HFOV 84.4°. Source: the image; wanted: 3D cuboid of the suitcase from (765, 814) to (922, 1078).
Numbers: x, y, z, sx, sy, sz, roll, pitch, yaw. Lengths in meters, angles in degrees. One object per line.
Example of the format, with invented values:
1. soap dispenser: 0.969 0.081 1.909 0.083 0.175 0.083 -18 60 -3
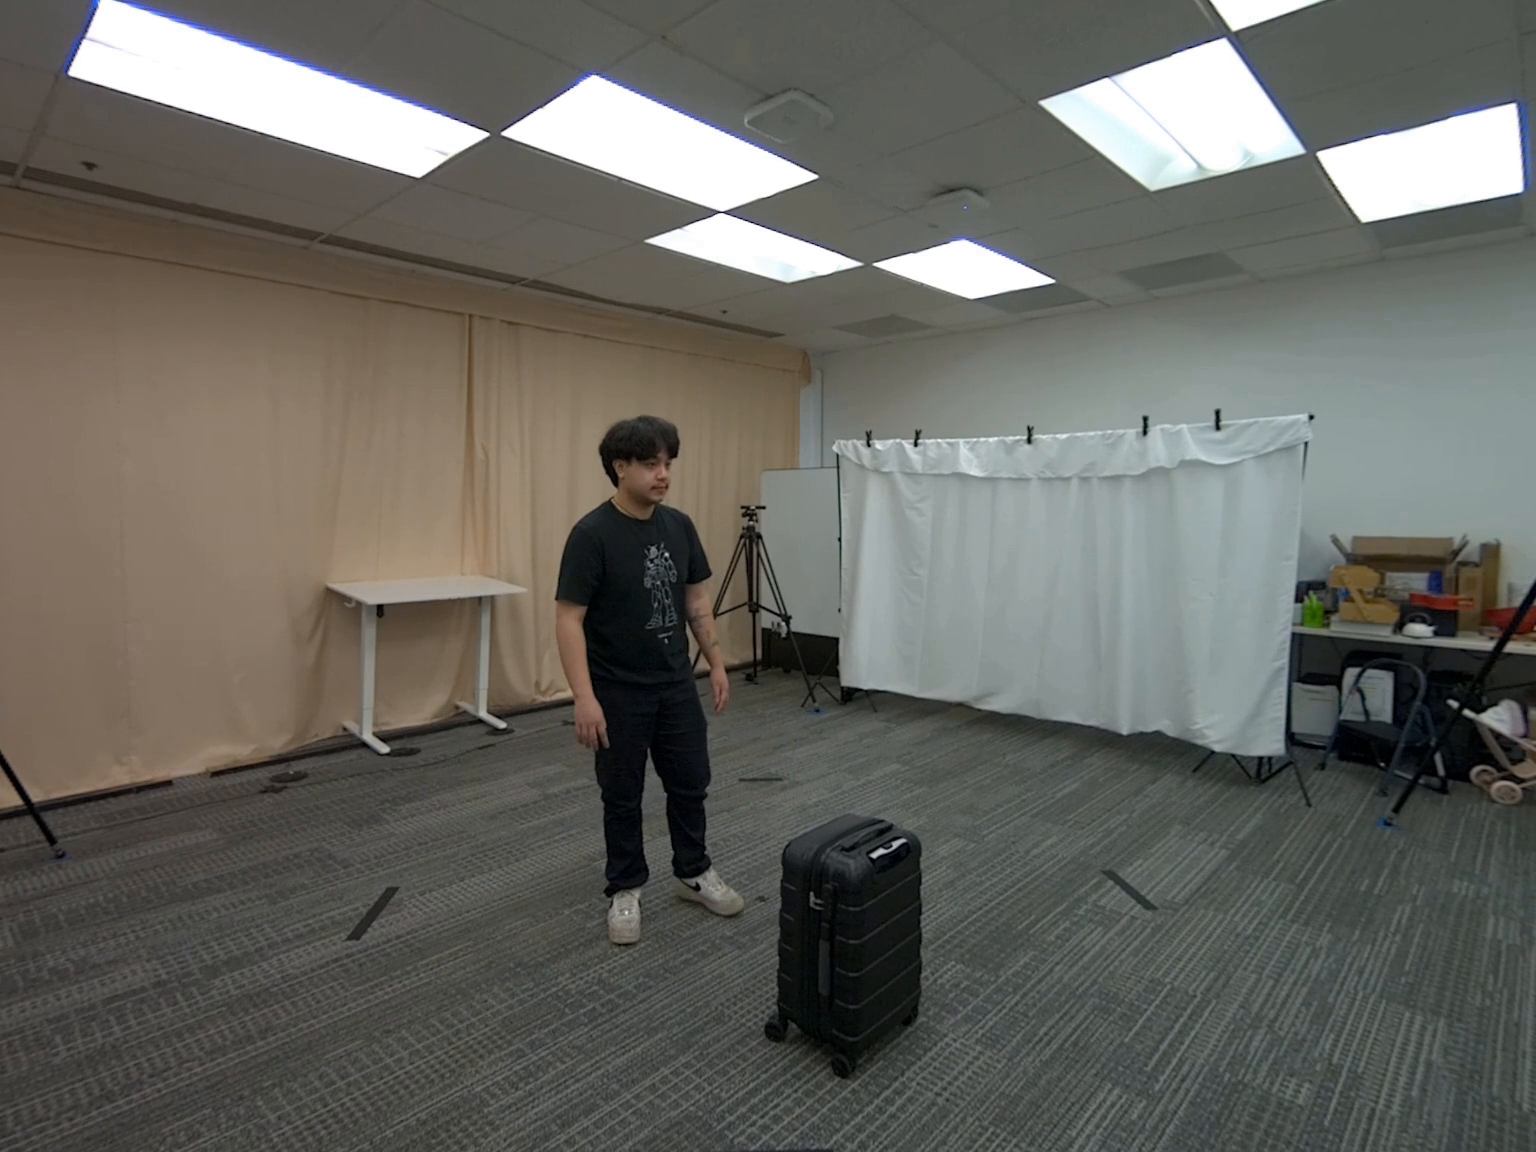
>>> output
1. suitcase: 0.220 0.934 2.208 0.257 0.548 0.364 5 6 42
